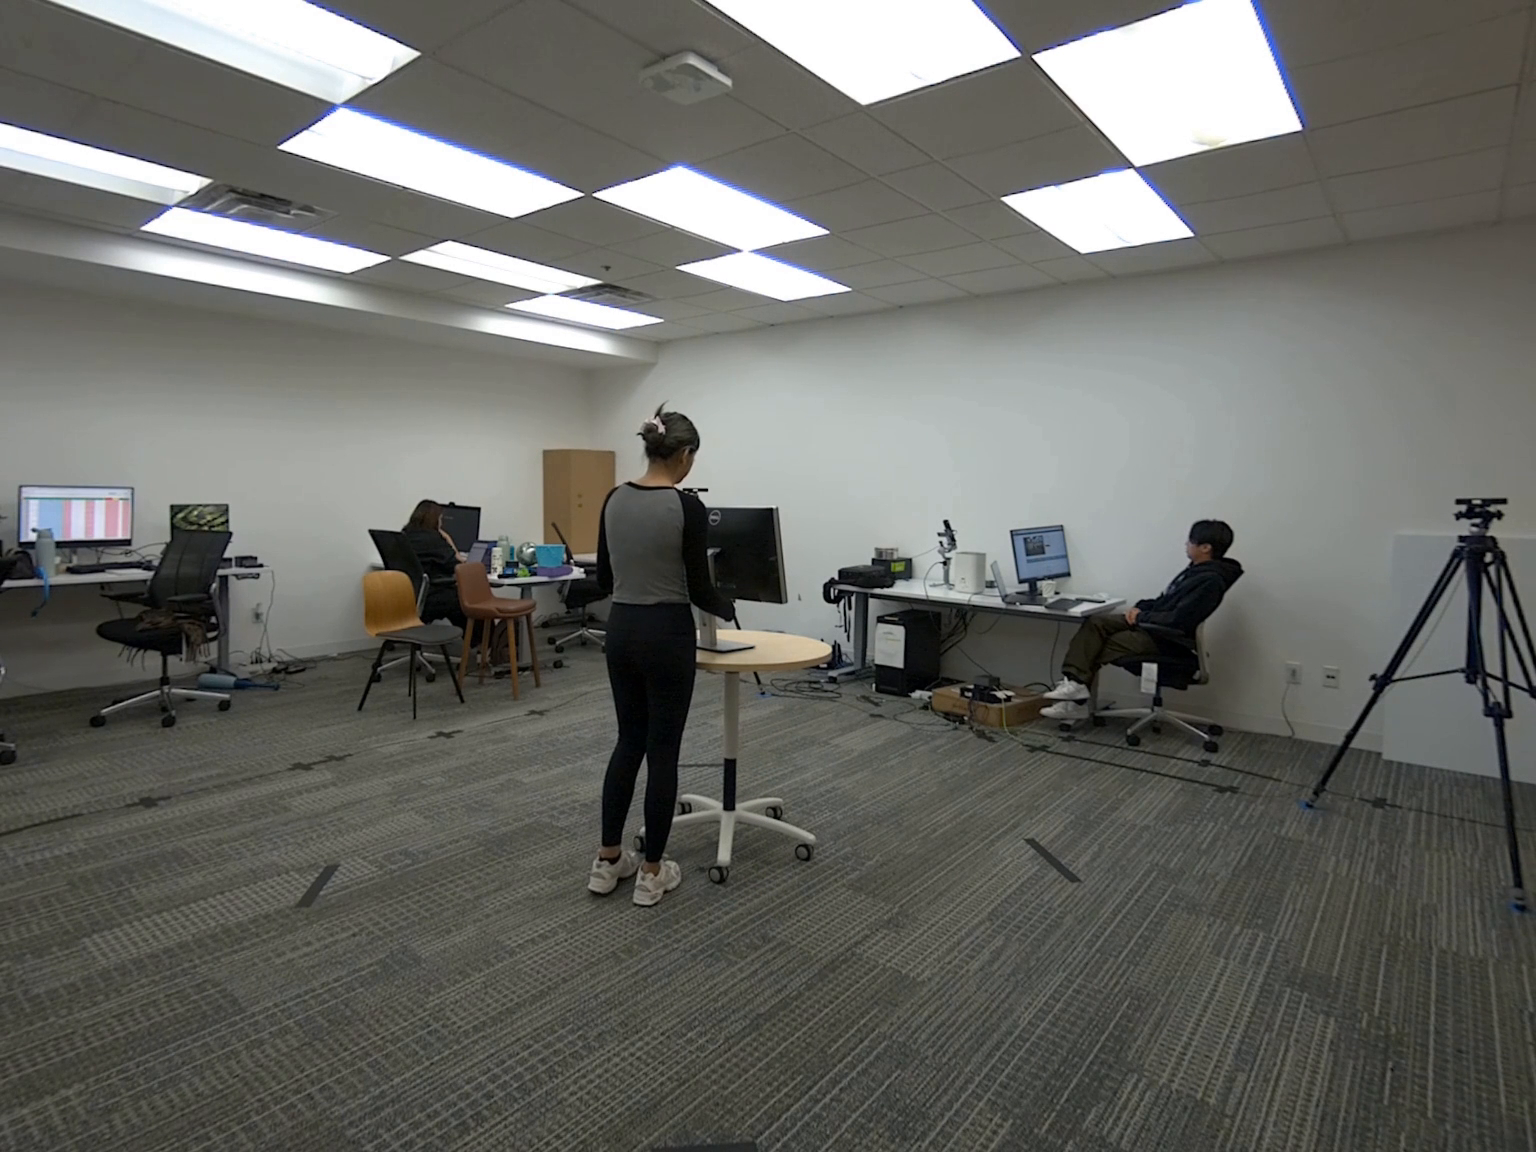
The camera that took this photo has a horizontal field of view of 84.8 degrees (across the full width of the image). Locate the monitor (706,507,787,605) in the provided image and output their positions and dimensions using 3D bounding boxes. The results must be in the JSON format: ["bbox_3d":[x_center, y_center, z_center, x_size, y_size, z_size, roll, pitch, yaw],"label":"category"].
[{"bbox_3d":[-0.201,0.003,3.251,0.557,0.522,0.181,4,2,40],"label":"monitor"}]
